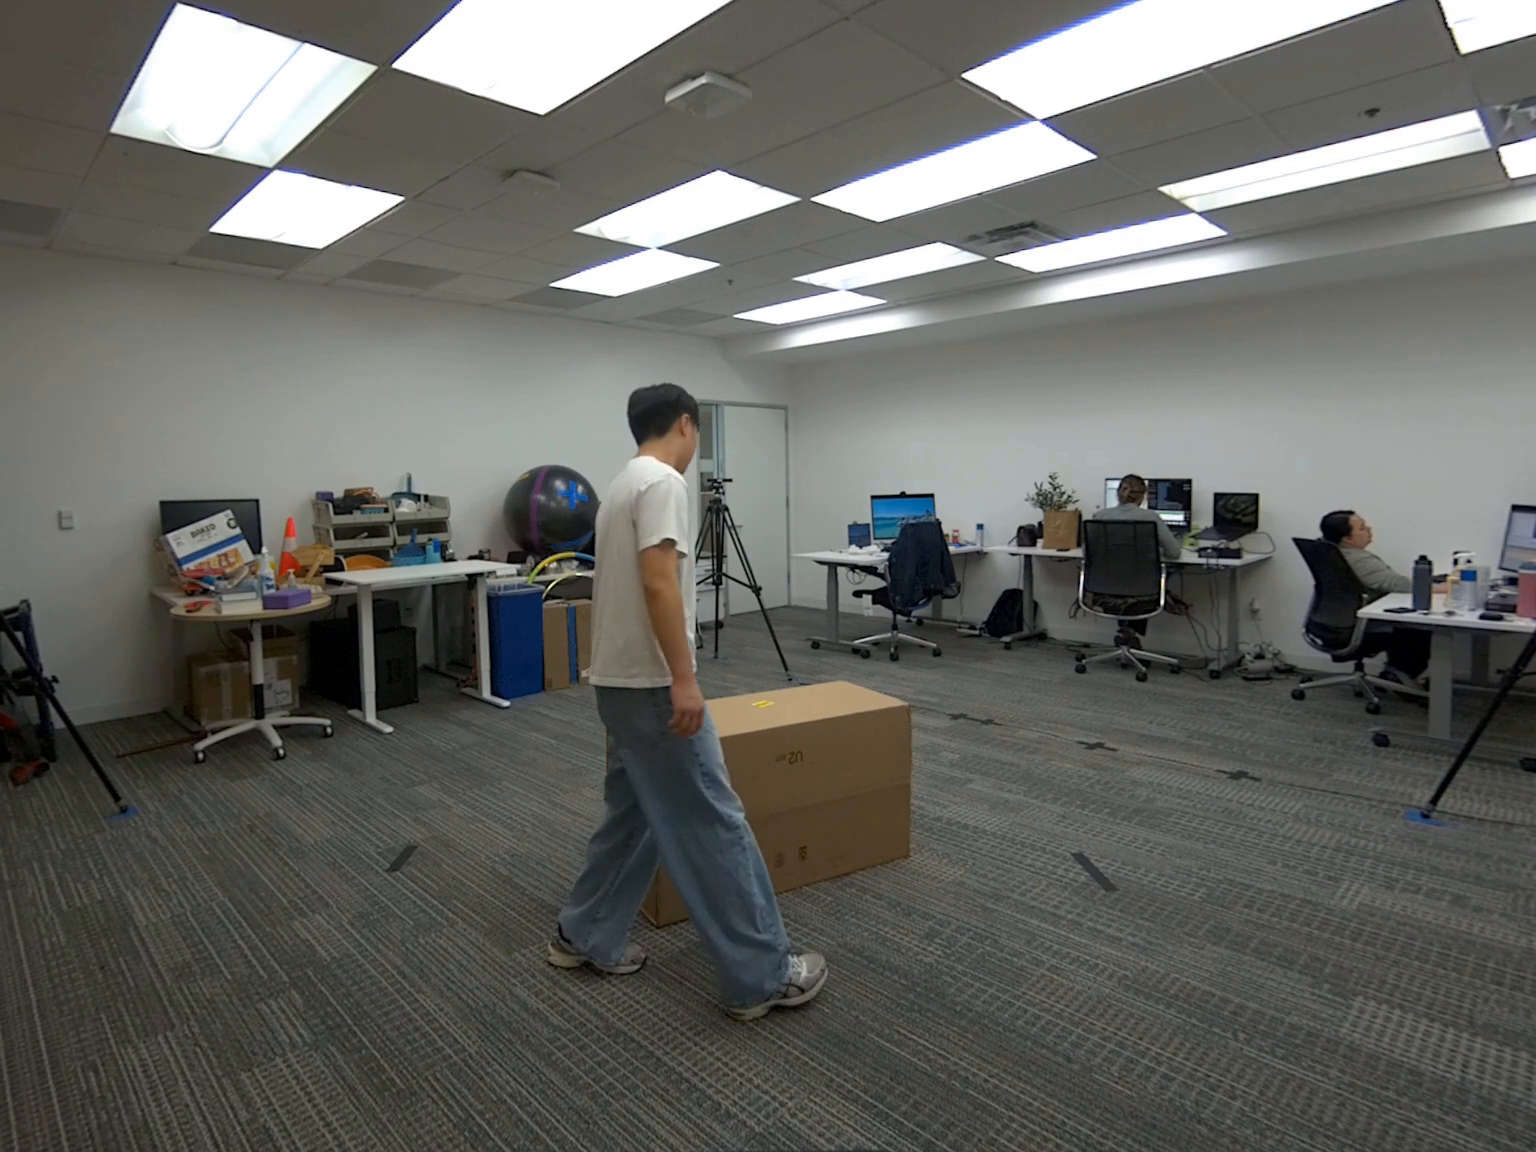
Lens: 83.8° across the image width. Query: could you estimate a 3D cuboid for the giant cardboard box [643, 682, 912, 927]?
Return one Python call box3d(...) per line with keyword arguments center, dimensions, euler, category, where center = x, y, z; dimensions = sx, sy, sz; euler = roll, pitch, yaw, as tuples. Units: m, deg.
box3d(center=(-0.021, 0.761, 3.072), dimensions=(1.002, 0.575, 0.438), euler=(-4, 6, -29), category="giant cardboard box")
